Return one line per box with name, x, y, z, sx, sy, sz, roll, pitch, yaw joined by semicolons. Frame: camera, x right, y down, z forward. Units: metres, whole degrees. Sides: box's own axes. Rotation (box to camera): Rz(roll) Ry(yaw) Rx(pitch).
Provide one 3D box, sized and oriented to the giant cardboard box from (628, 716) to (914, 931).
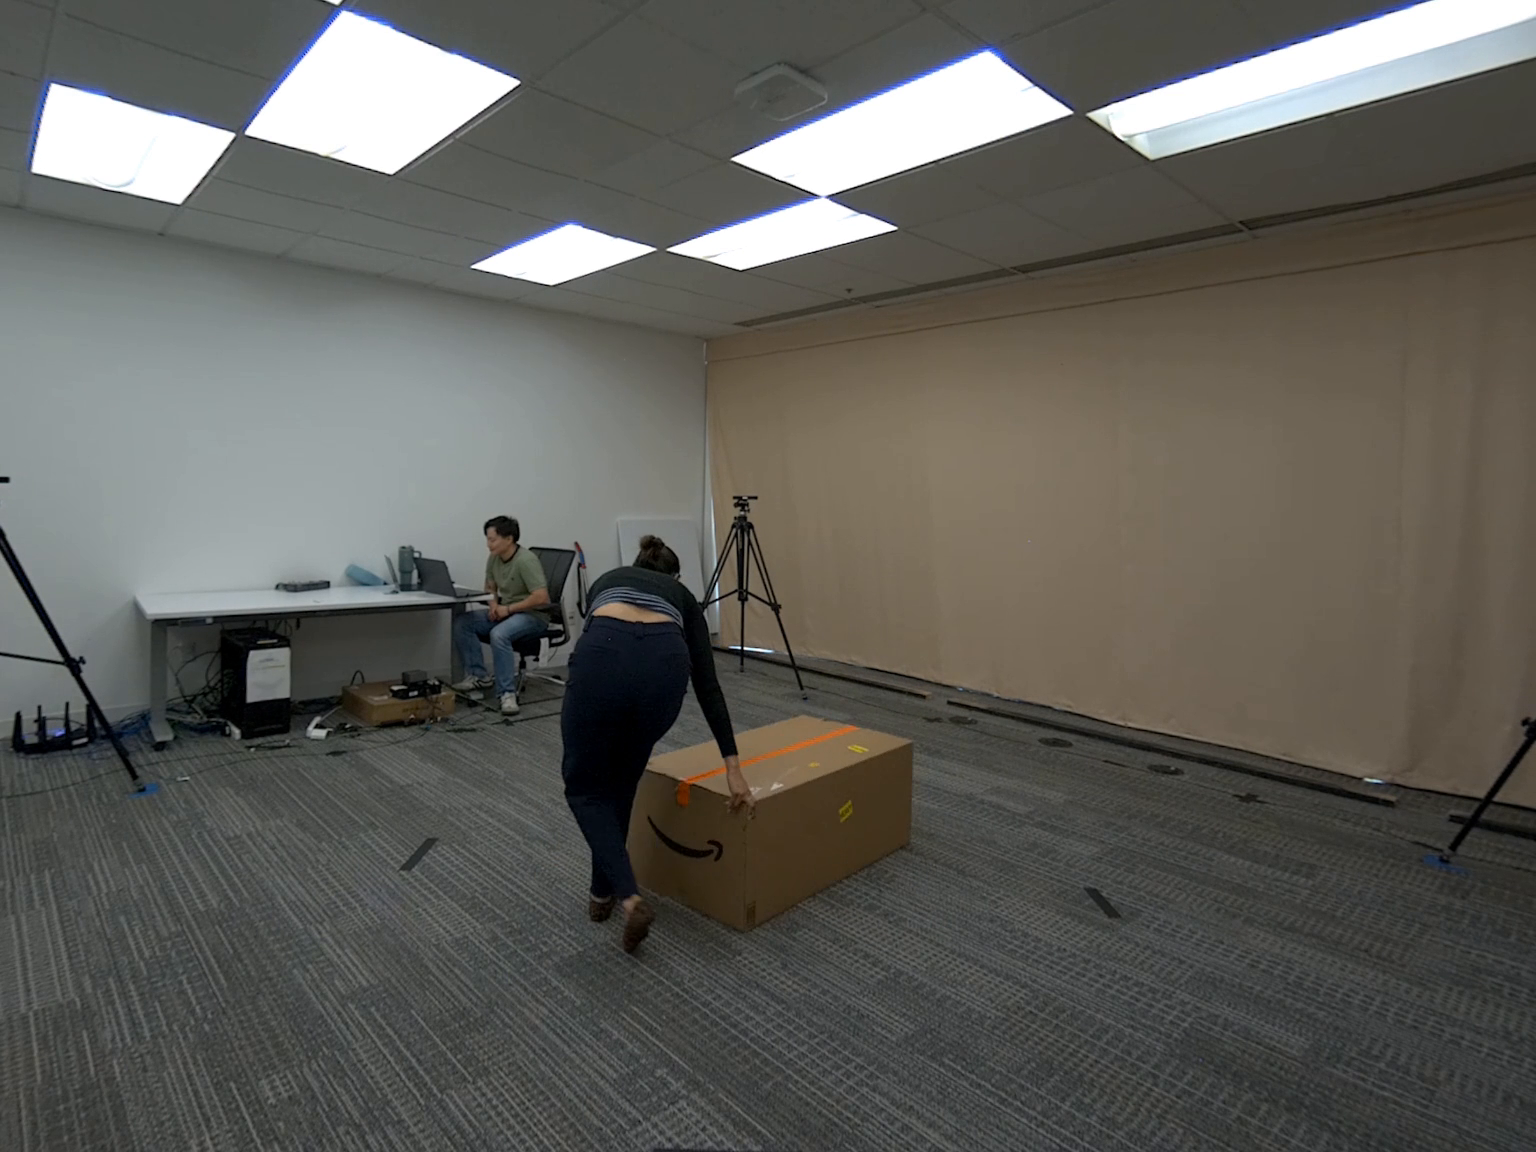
giant cardboard box;0.034;0.881;3.236;0.592;0.425;1.003;6;6;41
